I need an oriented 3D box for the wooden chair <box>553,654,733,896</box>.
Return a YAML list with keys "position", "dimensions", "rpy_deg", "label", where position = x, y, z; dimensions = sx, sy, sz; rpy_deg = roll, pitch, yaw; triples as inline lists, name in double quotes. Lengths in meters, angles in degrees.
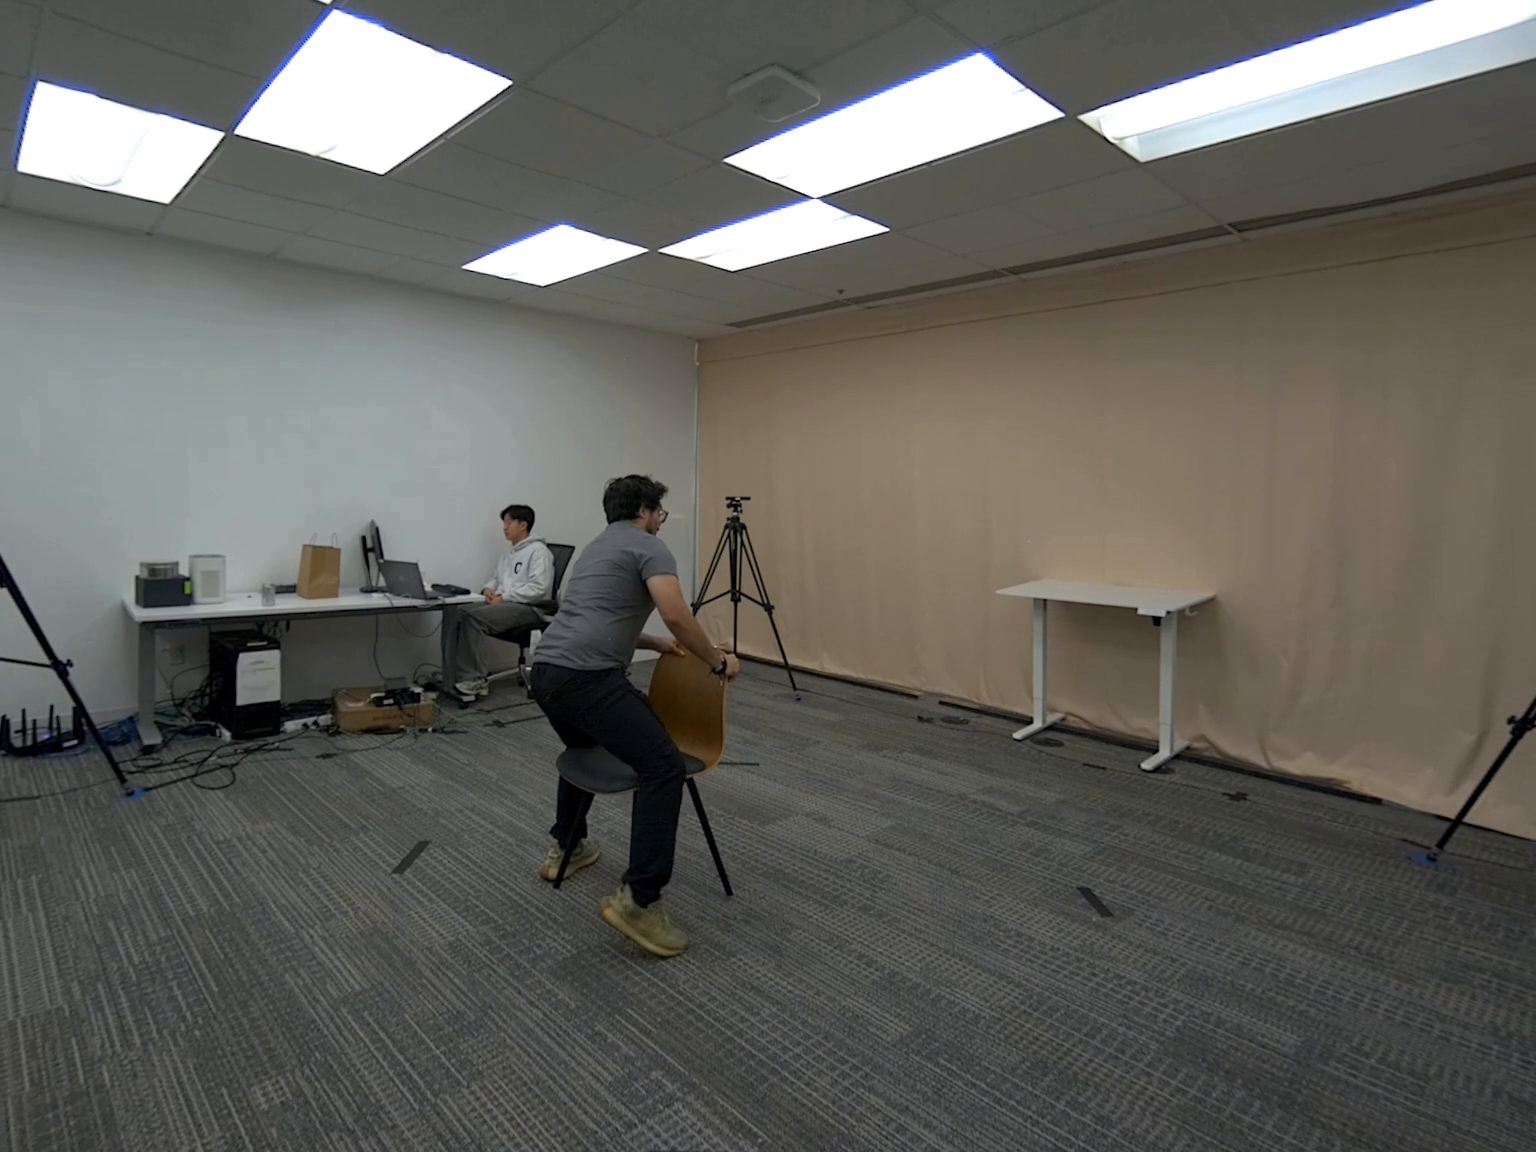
- position: [-0.438, 0.686, 2.933]
  dimensions: [0.510, 0.877, 0.490]
  rpy_deg: [4, 0, -45]
  label: "wooden chair"
